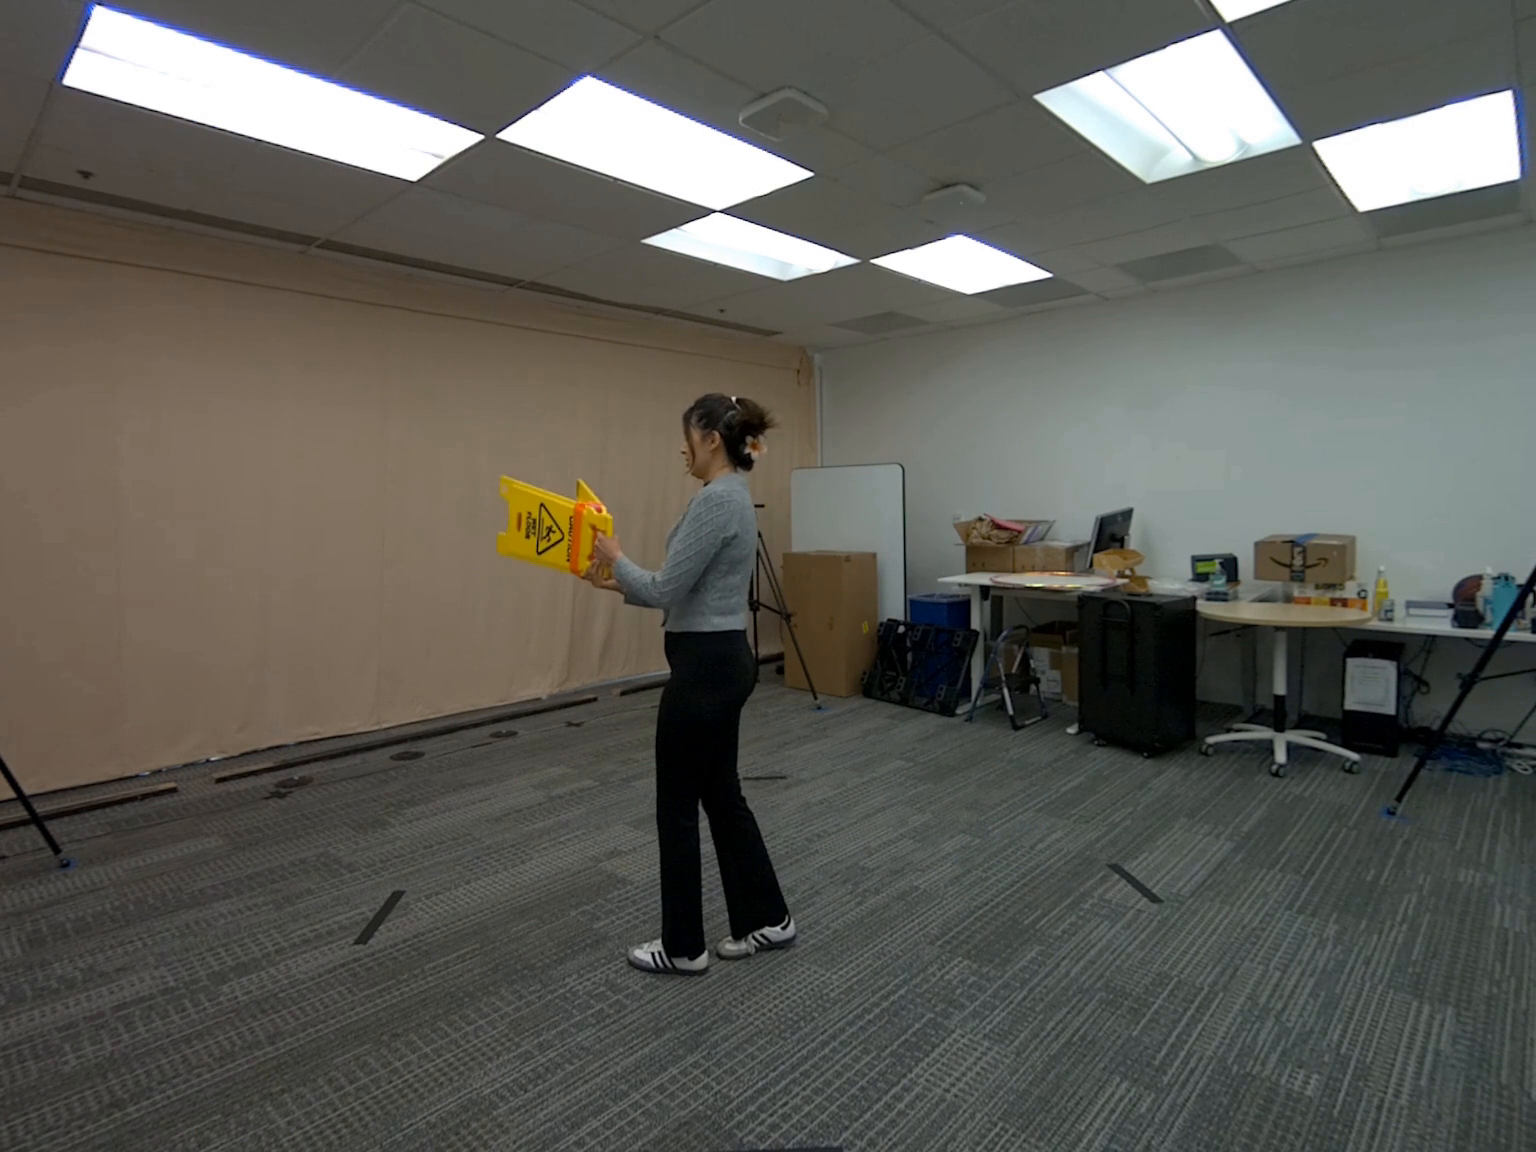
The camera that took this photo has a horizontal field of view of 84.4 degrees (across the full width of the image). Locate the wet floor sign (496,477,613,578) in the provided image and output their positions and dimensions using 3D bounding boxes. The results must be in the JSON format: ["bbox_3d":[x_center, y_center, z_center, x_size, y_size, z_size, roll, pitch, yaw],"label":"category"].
[{"bbox_3d":[-0.666,-0.149,2.821,0.281,0.281,0.668,-1,13,-33],"label":"wet floor sign"}]
